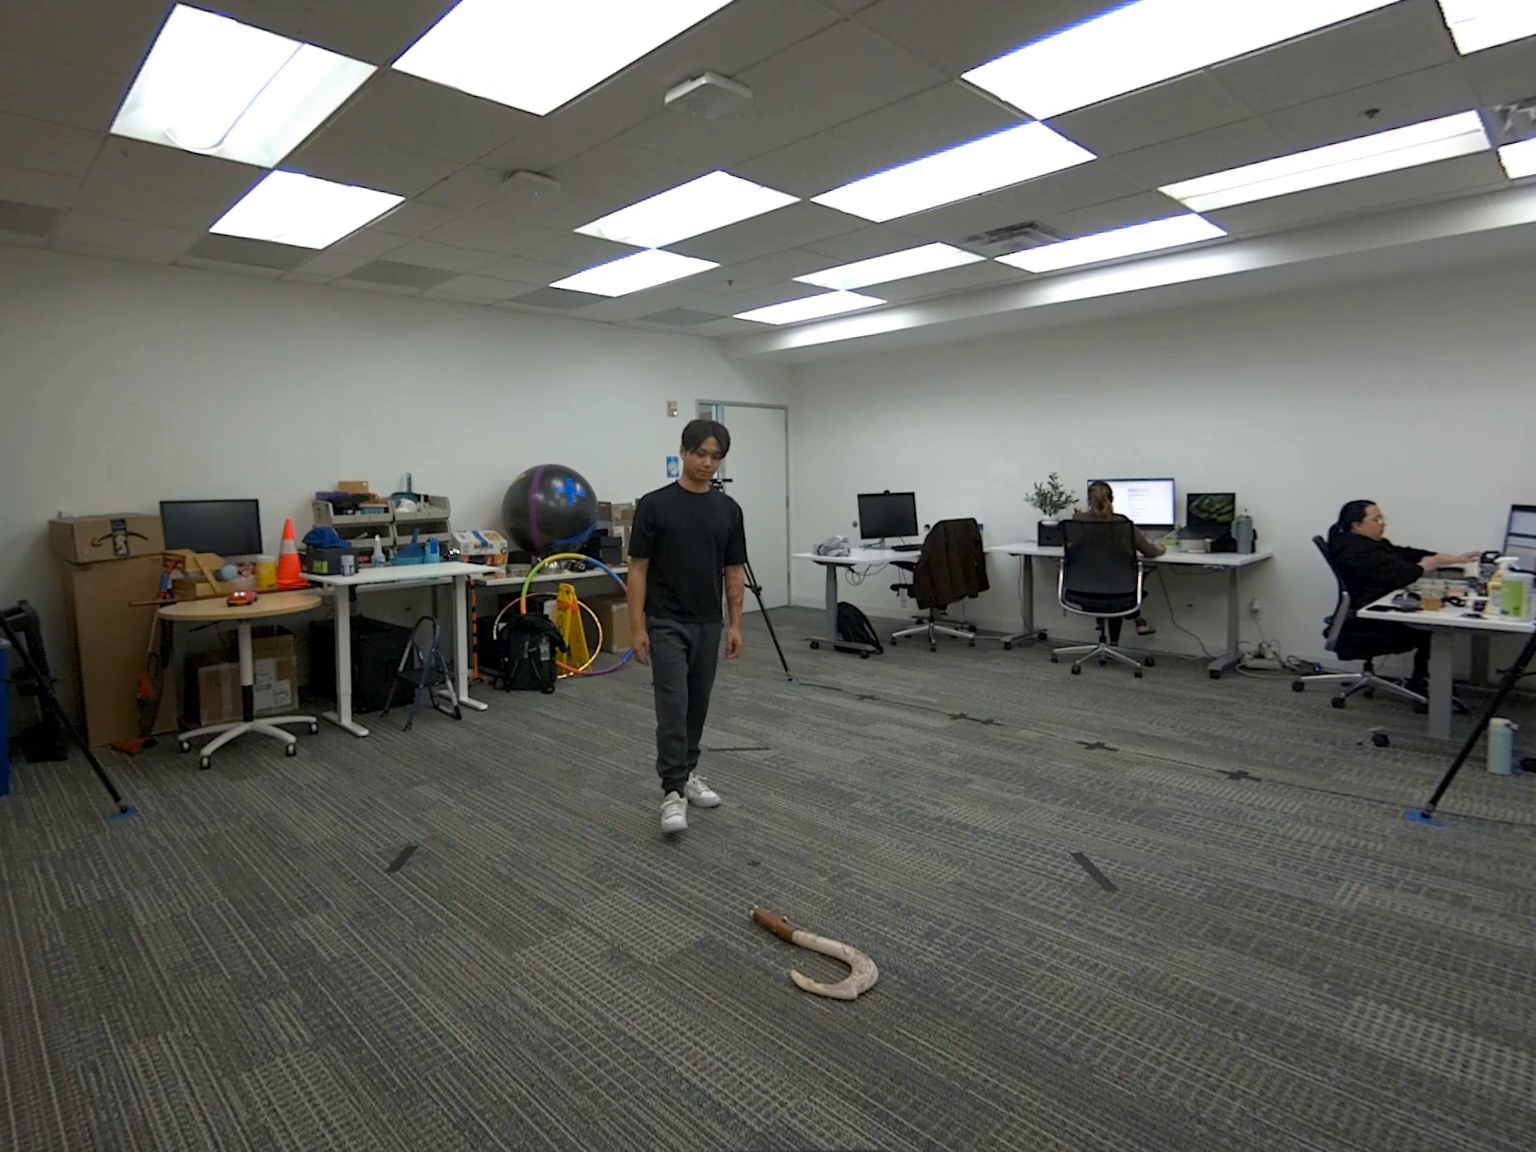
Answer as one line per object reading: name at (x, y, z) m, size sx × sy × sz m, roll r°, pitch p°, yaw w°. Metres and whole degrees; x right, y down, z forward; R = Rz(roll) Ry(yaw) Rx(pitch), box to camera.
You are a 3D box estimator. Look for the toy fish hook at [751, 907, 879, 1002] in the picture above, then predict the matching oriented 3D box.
toy fish hook at (0.093, 1.092, 2.493) m, size 0.219 × 0.048 × 0.522 m, roll -6°, pitch 8°, yaw -42°
